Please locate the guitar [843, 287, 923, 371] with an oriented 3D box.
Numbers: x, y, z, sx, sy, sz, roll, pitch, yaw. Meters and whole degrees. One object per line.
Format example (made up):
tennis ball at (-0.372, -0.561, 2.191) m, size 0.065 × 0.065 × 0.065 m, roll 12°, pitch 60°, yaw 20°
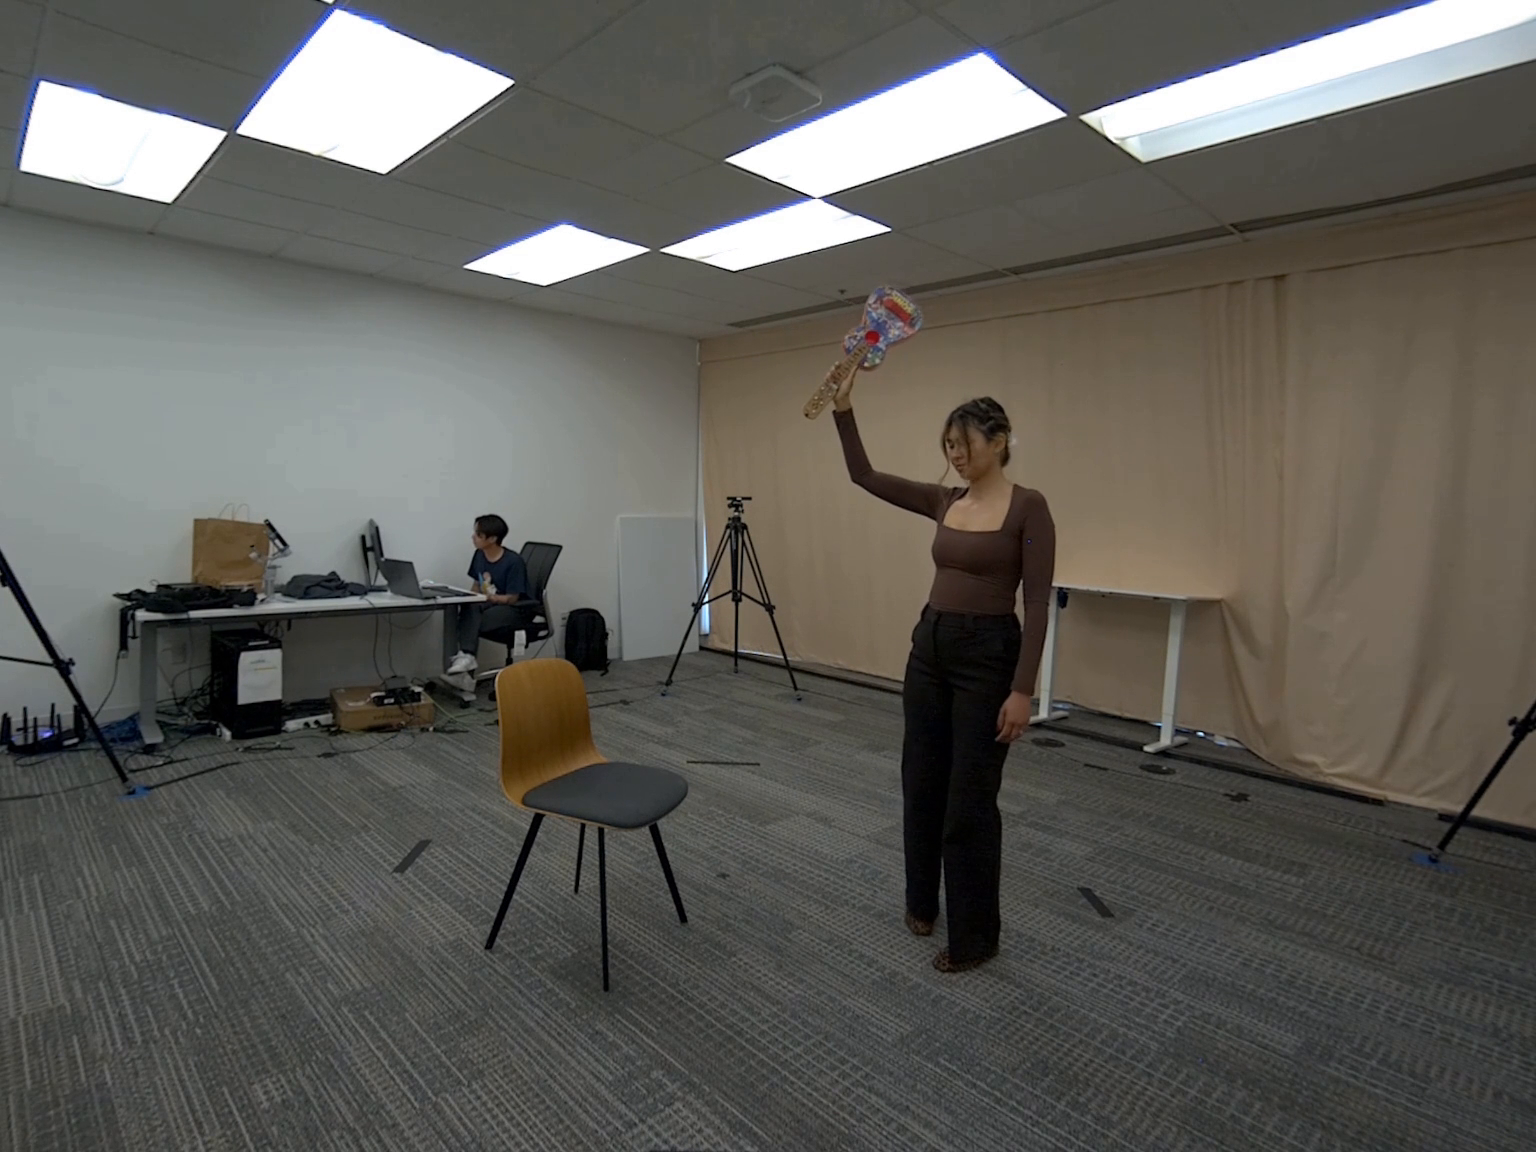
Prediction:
guitar at (0.263, -0.725, 2.715) m, size 0.498 × 0.194 × 0.070 m, roll -42°, pitch -4°, yaw 2°
